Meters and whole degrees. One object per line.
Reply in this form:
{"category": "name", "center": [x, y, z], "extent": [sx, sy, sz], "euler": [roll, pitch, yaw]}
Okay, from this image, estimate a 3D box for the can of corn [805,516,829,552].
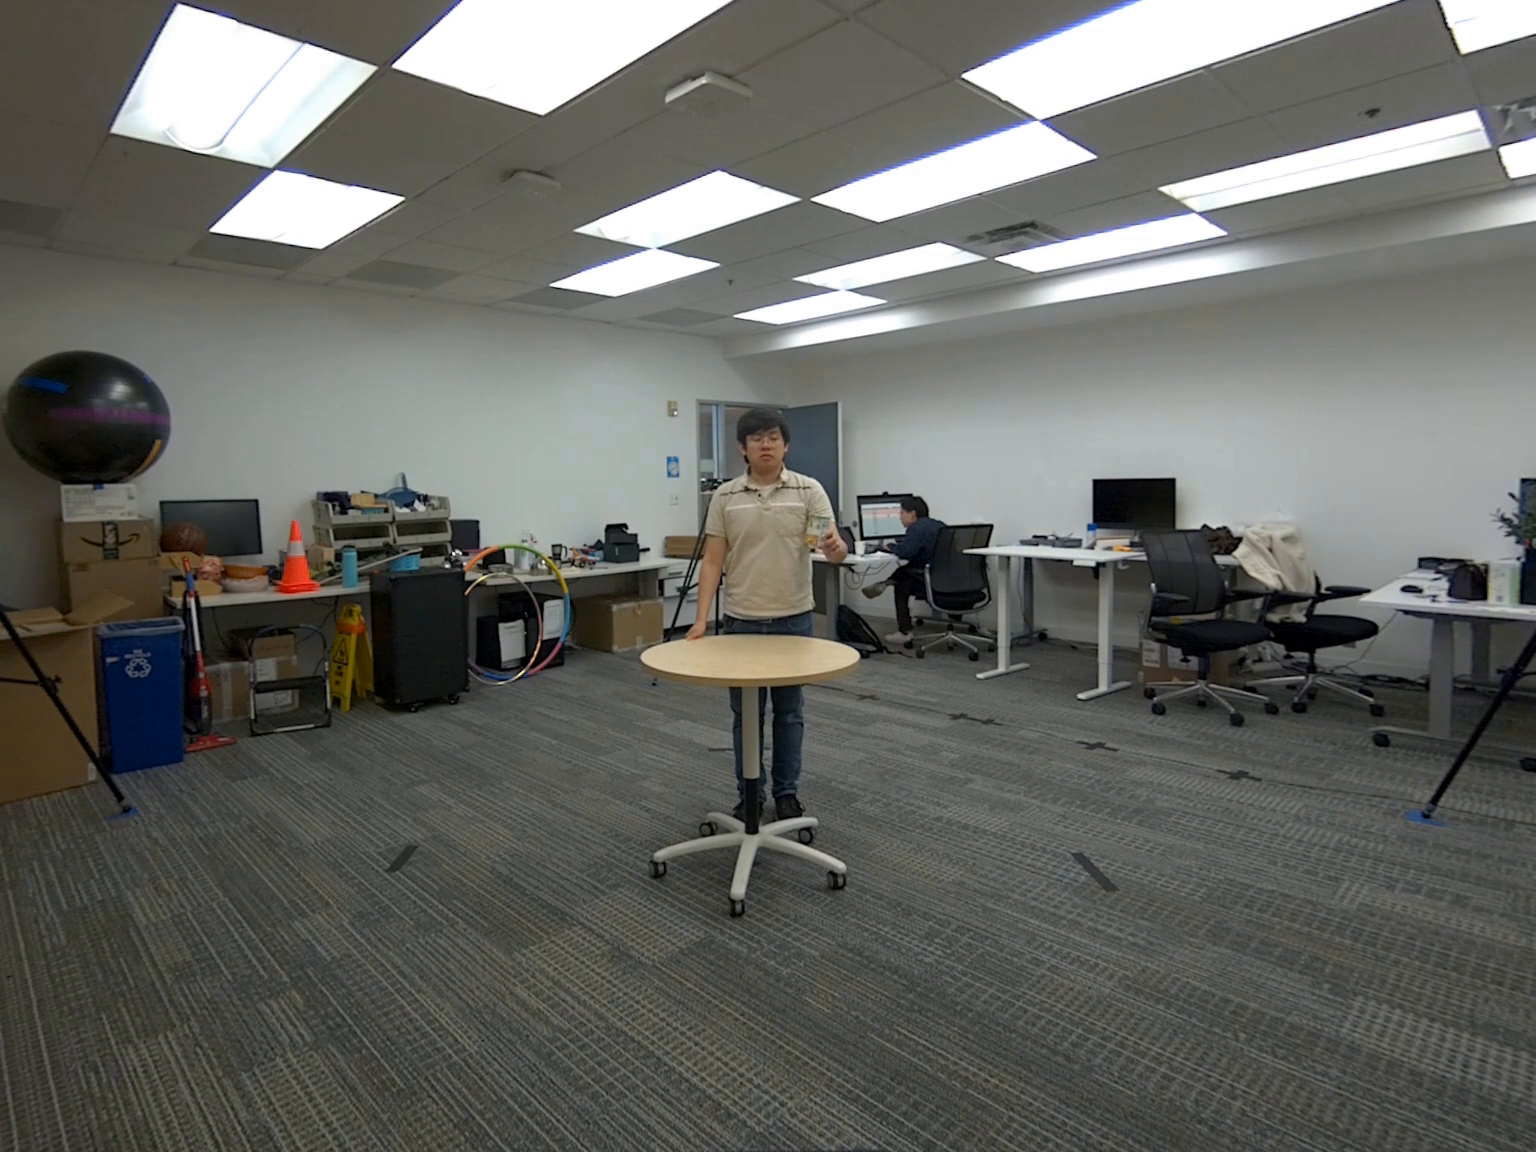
{"category": "can of corn", "center": [0.161, -0.149, 2.990], "extent": [0.074, 0.111, 0.074], "euler": [7, 5, -2]}
